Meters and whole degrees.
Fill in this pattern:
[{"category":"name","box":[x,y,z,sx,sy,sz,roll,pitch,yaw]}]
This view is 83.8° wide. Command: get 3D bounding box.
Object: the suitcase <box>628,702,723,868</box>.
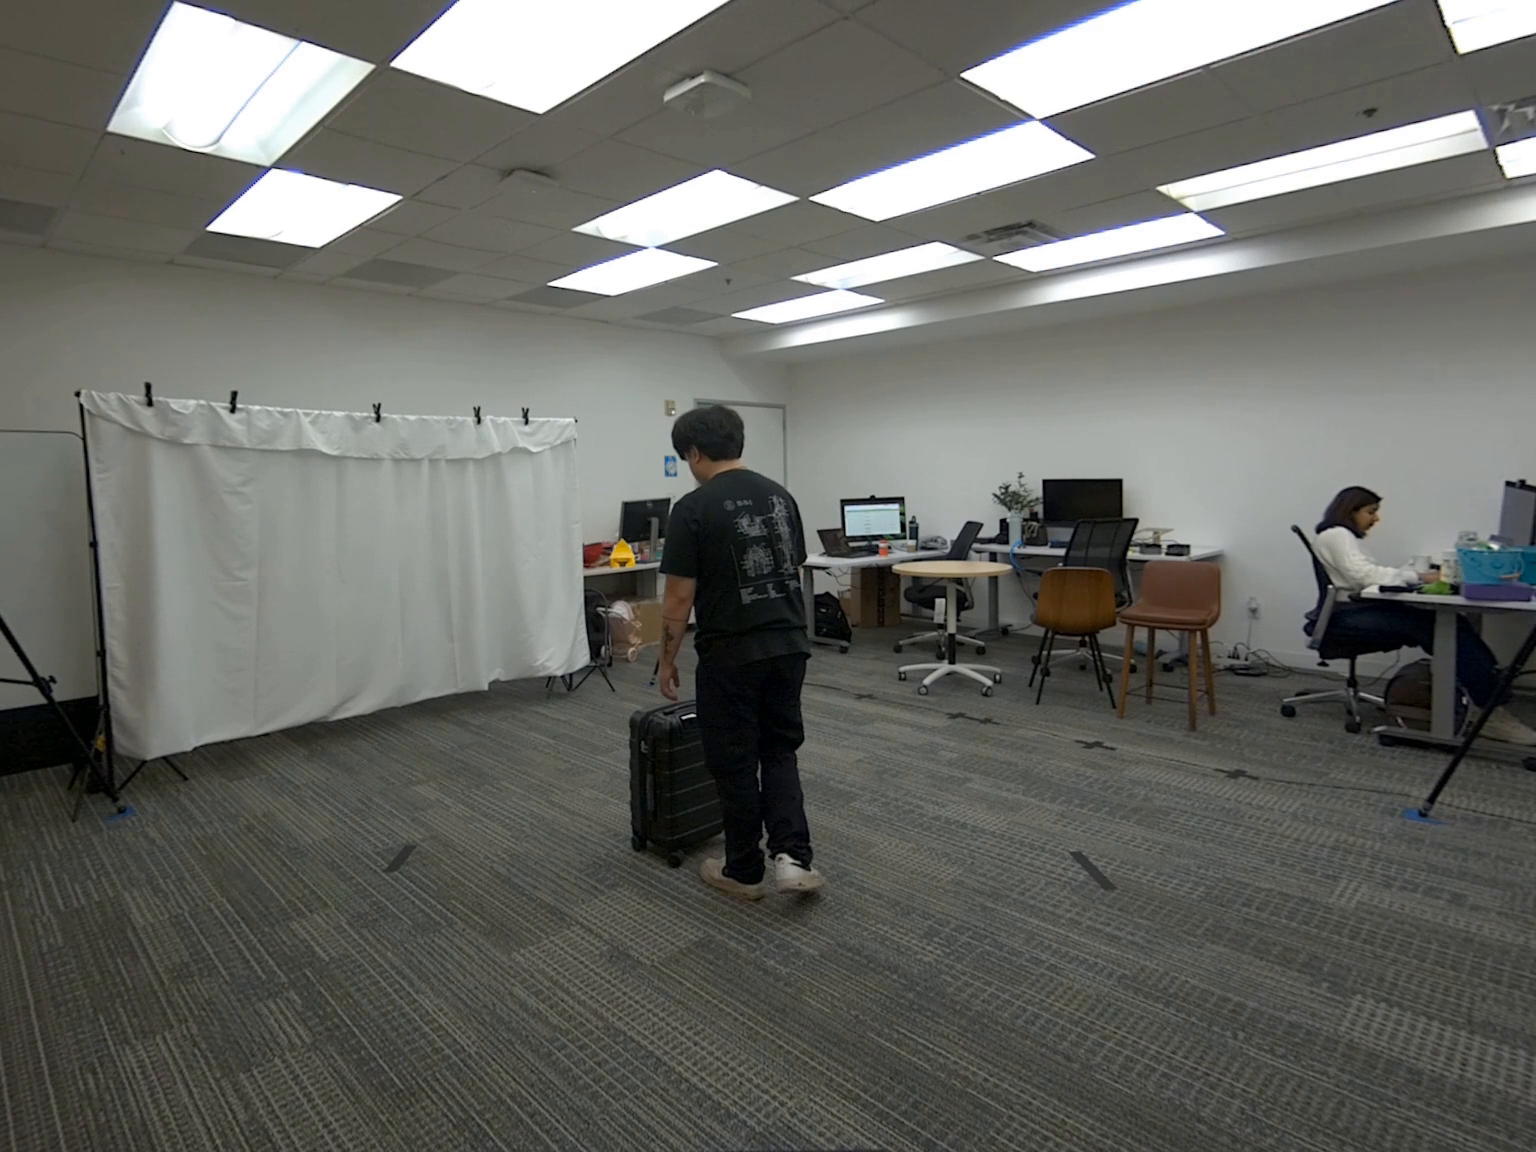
[{"category":"suitcase","box":[-0.338,0.760,3.256,0.365,0.548,0.255,-5,4,-43]}]
